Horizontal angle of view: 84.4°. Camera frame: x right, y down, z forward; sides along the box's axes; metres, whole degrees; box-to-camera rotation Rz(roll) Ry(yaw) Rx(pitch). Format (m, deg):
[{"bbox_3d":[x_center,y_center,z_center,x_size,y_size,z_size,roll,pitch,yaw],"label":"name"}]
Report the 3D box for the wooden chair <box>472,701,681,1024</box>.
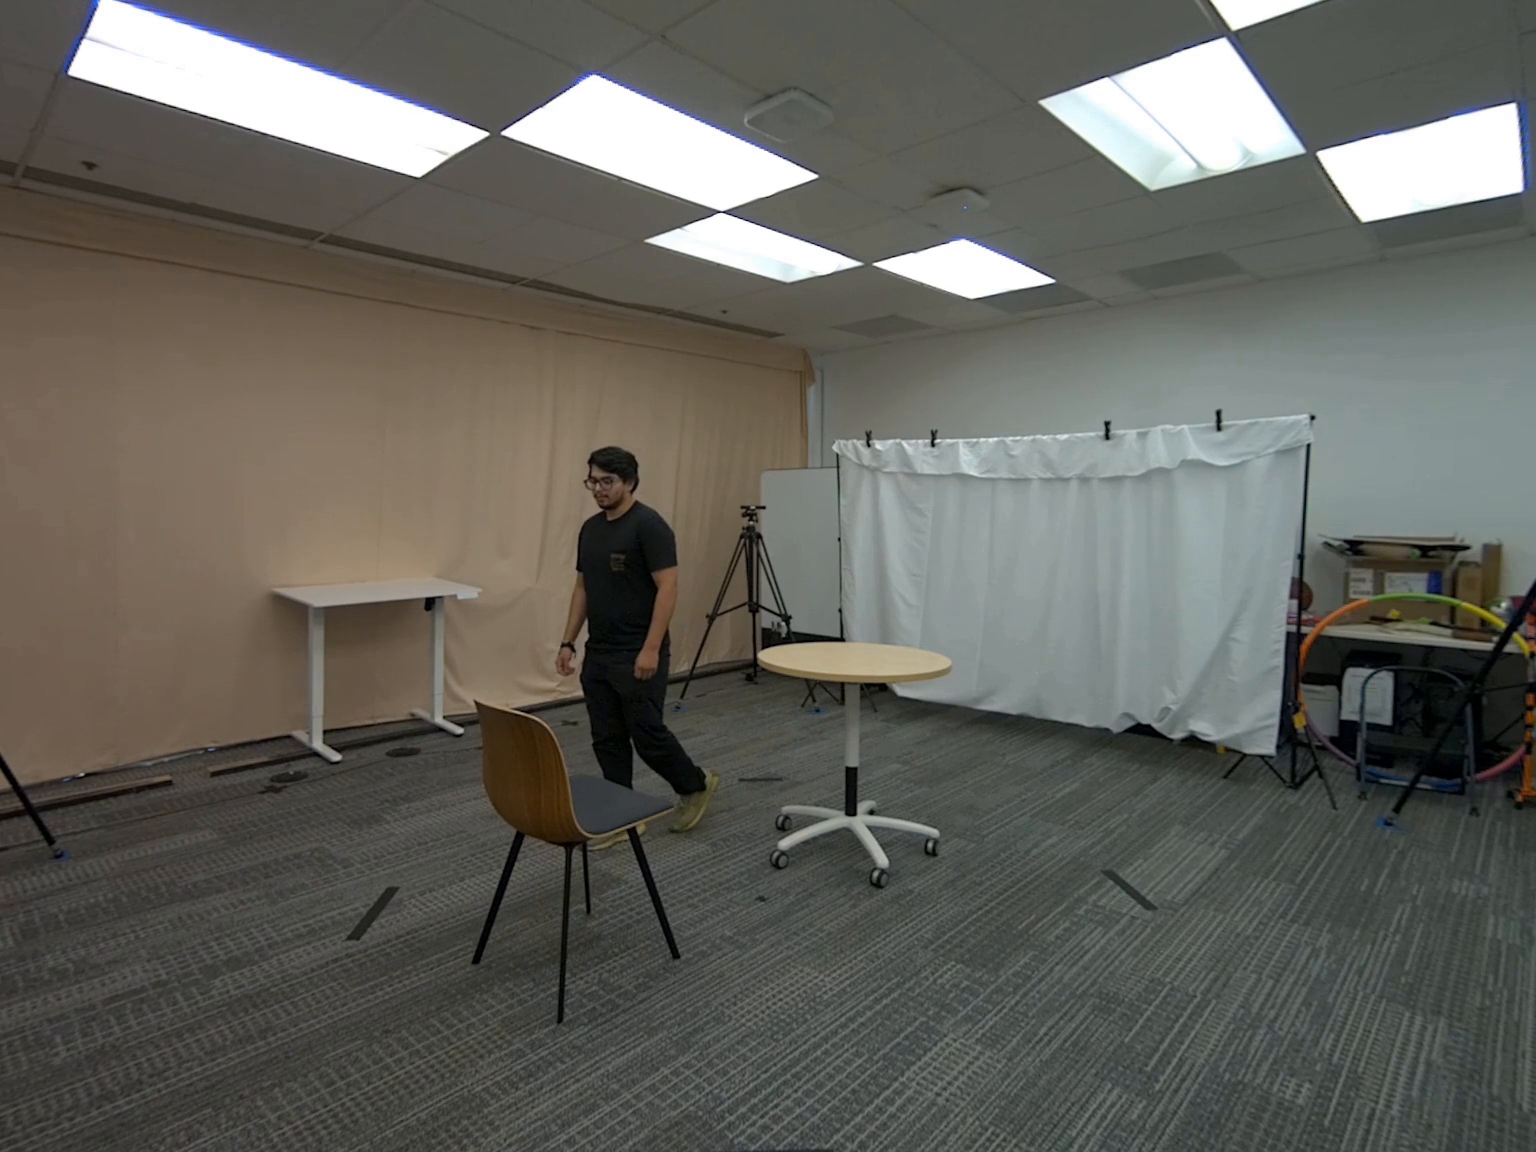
[{"bbox_3d":[-0.577,0.751,2.563,0.494,0.874,0.508,2,8,42],"label":"wooden chair"}]
